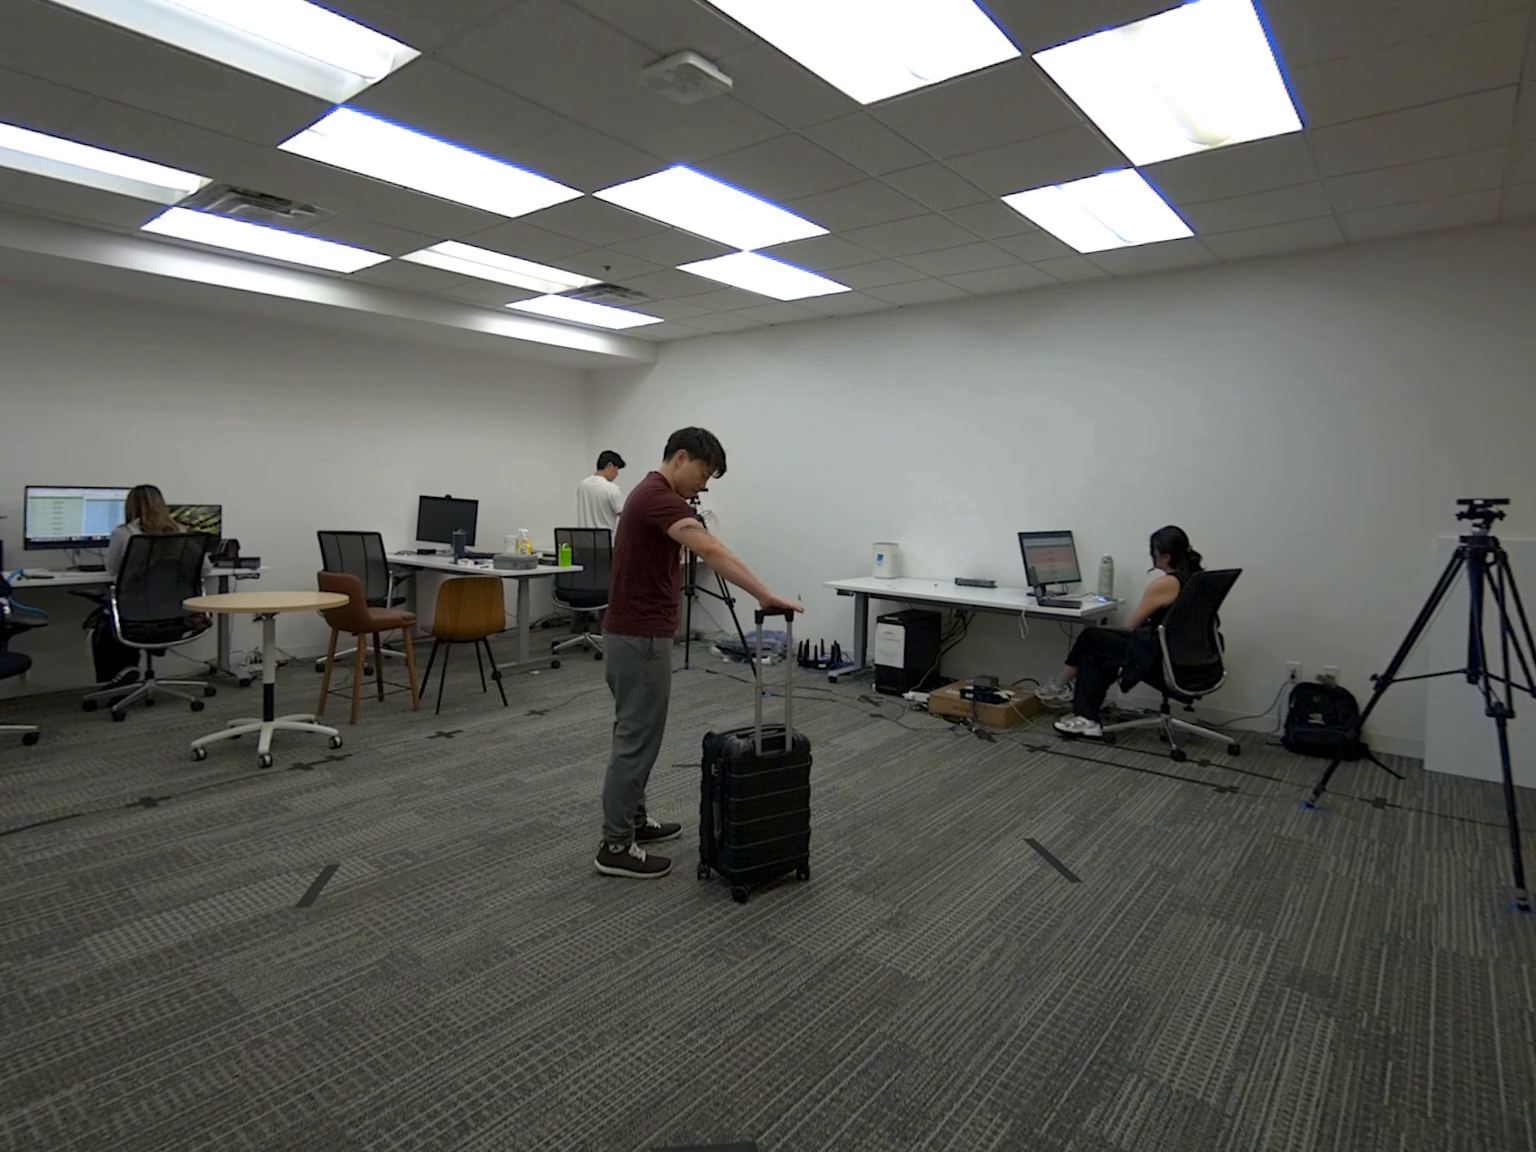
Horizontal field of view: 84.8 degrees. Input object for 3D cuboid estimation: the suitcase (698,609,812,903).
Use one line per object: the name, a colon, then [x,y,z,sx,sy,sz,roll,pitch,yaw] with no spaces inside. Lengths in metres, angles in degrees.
suitcase: [-0.052,0.603,3.020,0.374,0.977,0.264,-1,1,-27]
